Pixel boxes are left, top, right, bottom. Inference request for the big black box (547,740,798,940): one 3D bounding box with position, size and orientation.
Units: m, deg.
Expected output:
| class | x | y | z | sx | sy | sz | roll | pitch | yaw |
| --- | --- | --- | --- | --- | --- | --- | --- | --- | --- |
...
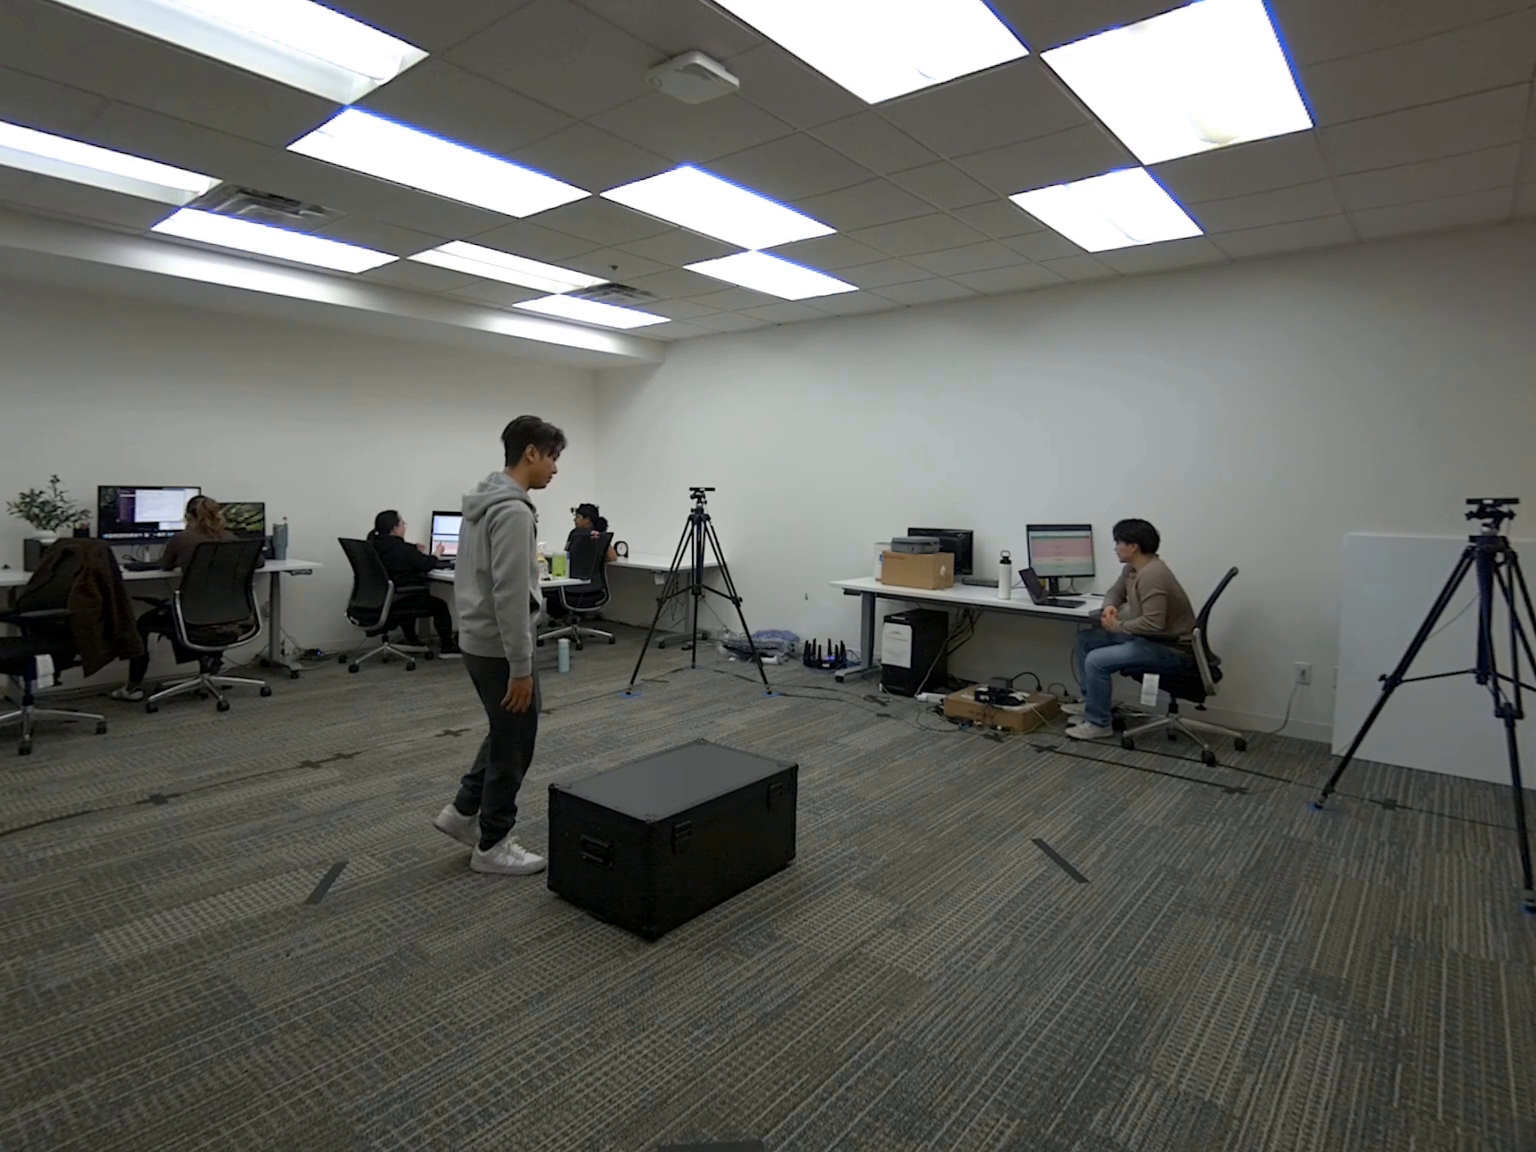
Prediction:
| class | x | y | z | sx | sy | sz | roll | pitch | yaw |
| --- | --- | --- | --- | --- | --- | --- | --- | --- | --- |
| big black box | -0.305 | 0.880 | 3.028 | 0.538 | 0.394 | 0.837 | 5 | 7 | 37 |
